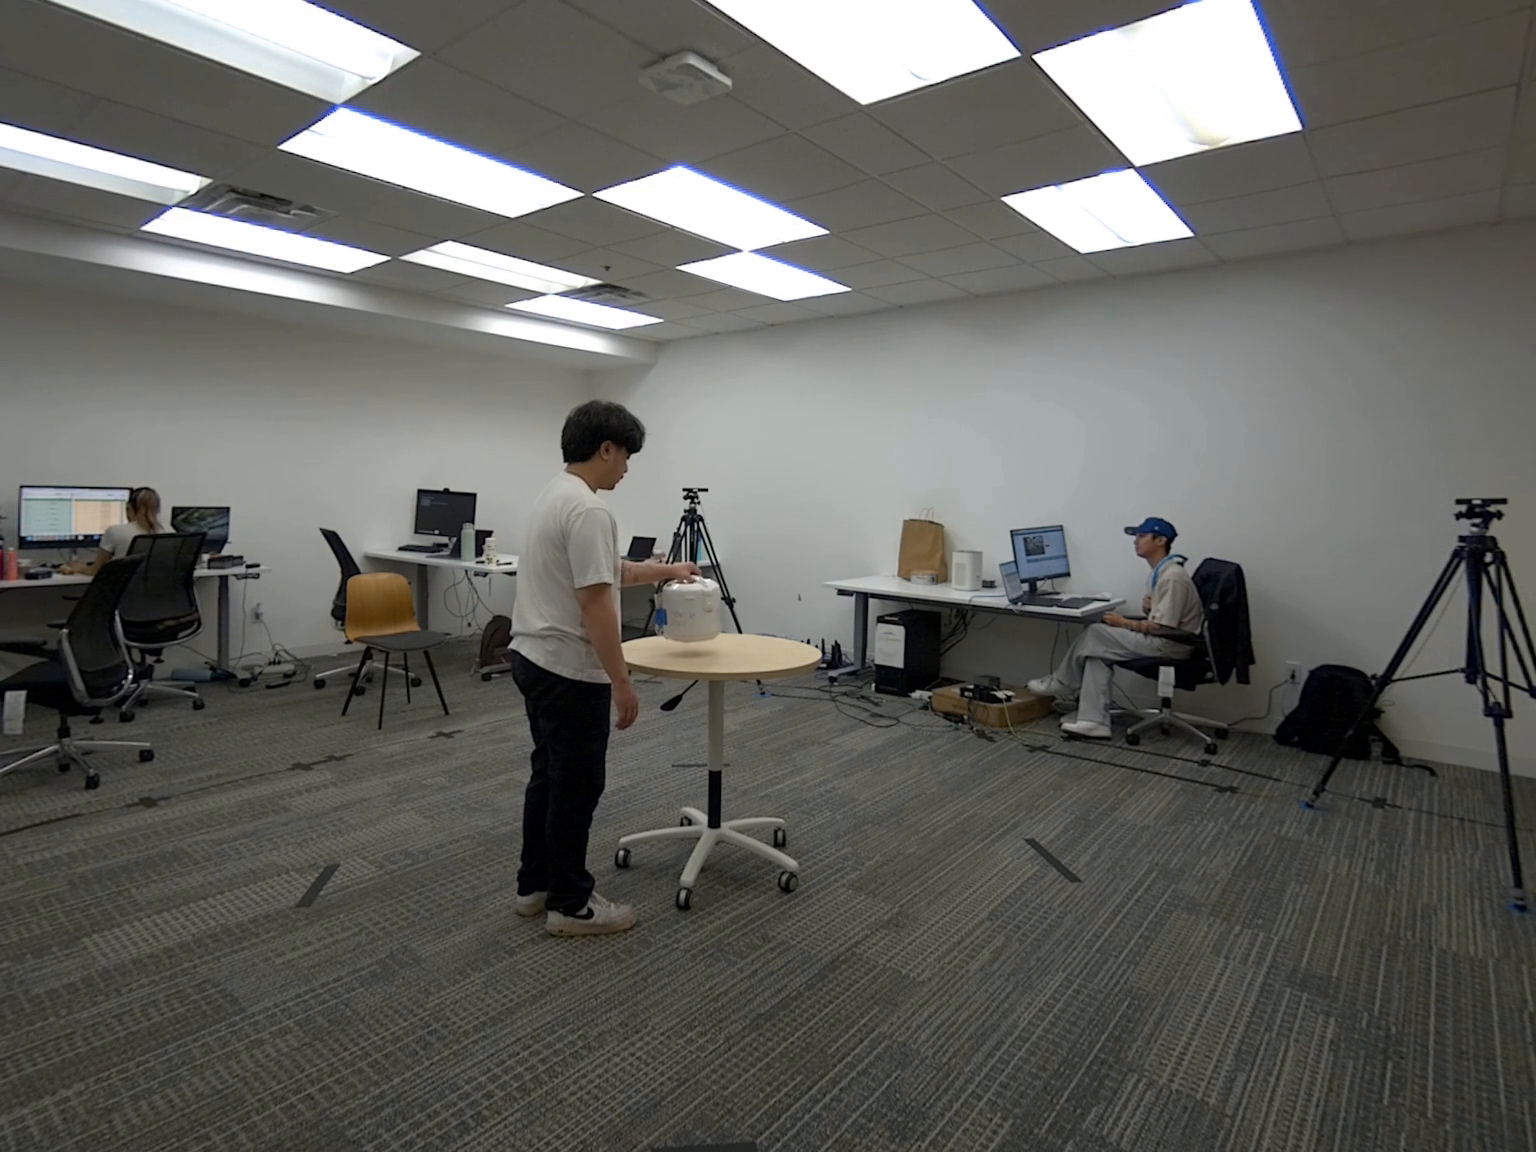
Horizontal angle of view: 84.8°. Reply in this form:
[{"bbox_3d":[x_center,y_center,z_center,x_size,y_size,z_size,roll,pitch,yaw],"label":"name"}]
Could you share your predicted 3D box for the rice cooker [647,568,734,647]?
[{"bbox_3d":[-0.286,0.106,3.054,0.212,0.231,0.228,-8,8,-35],"label":"rice cooker"}]
